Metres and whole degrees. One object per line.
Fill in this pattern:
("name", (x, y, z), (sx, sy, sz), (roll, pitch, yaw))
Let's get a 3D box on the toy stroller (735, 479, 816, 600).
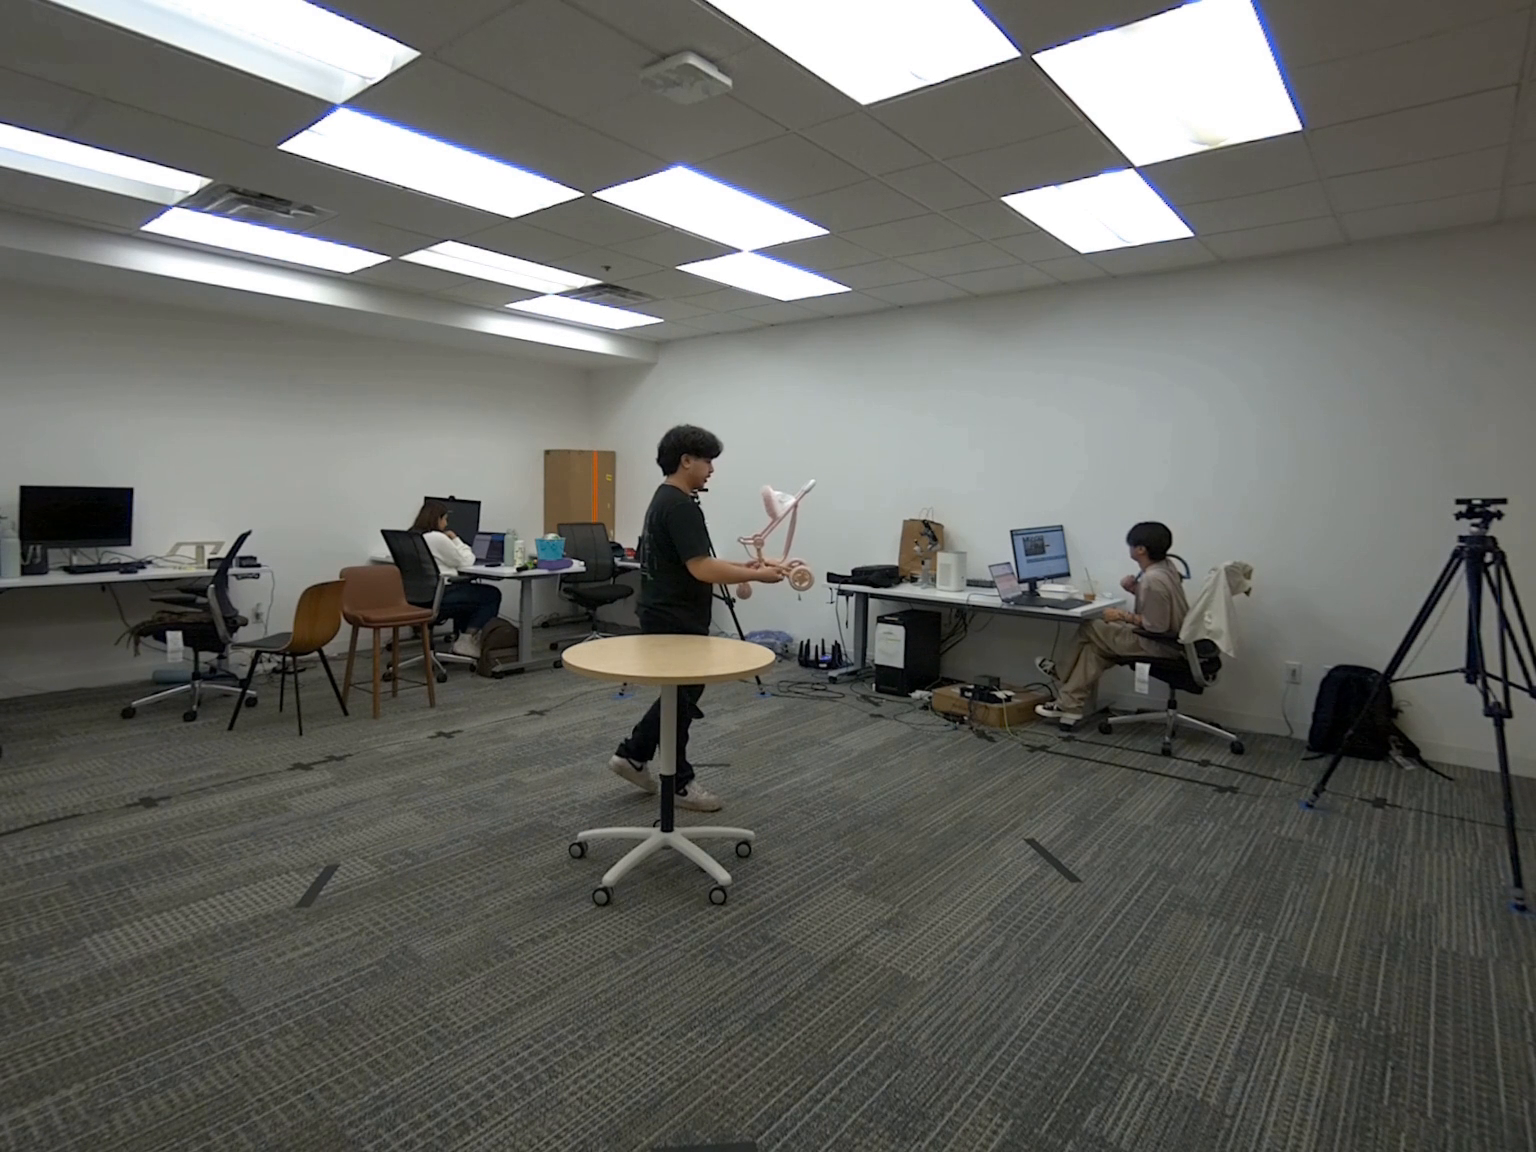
("toy stroller", (0.018, -0.161, 3.742), (0.343, 0.531, 0.282), (2, 7, 3))
